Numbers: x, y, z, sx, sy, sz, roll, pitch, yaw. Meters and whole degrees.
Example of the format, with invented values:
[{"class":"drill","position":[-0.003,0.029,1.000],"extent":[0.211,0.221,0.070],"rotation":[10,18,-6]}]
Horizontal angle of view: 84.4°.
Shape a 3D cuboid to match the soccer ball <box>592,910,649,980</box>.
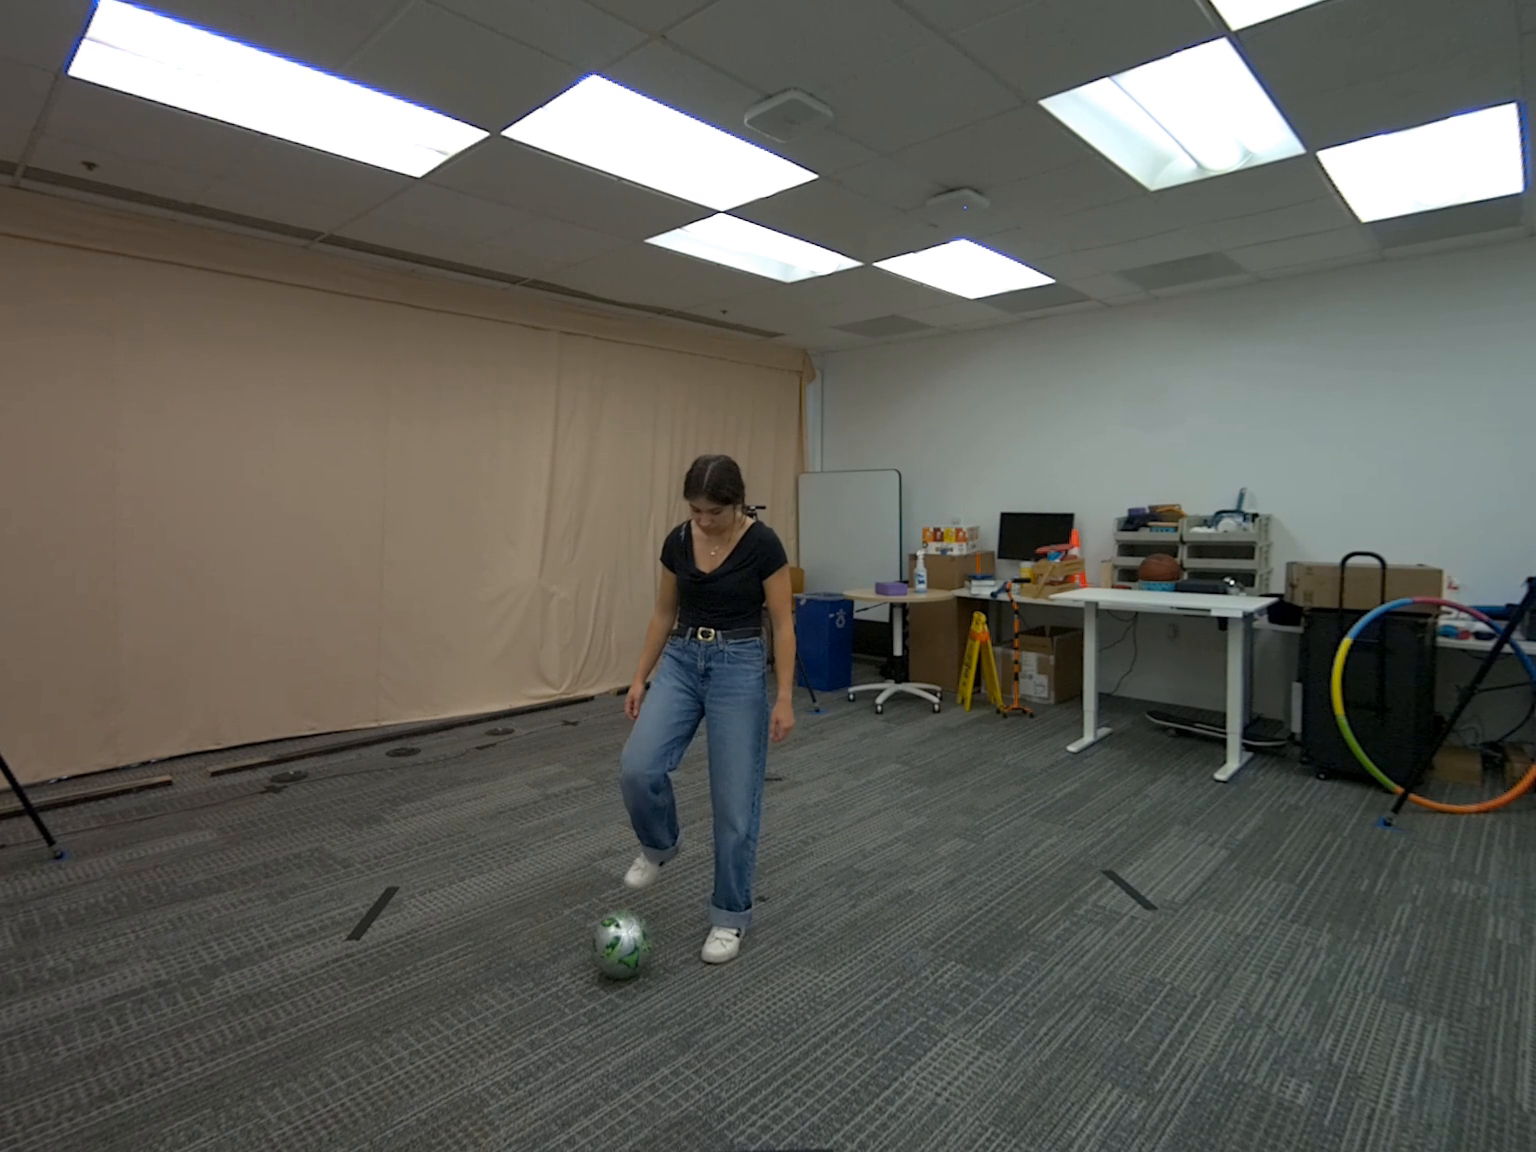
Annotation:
[{"class":"soccer ball","position":[-0.432,1.090,2.505],"extent":[0.187,0.187,0.188],"rotation":[0,4,-2]}]
